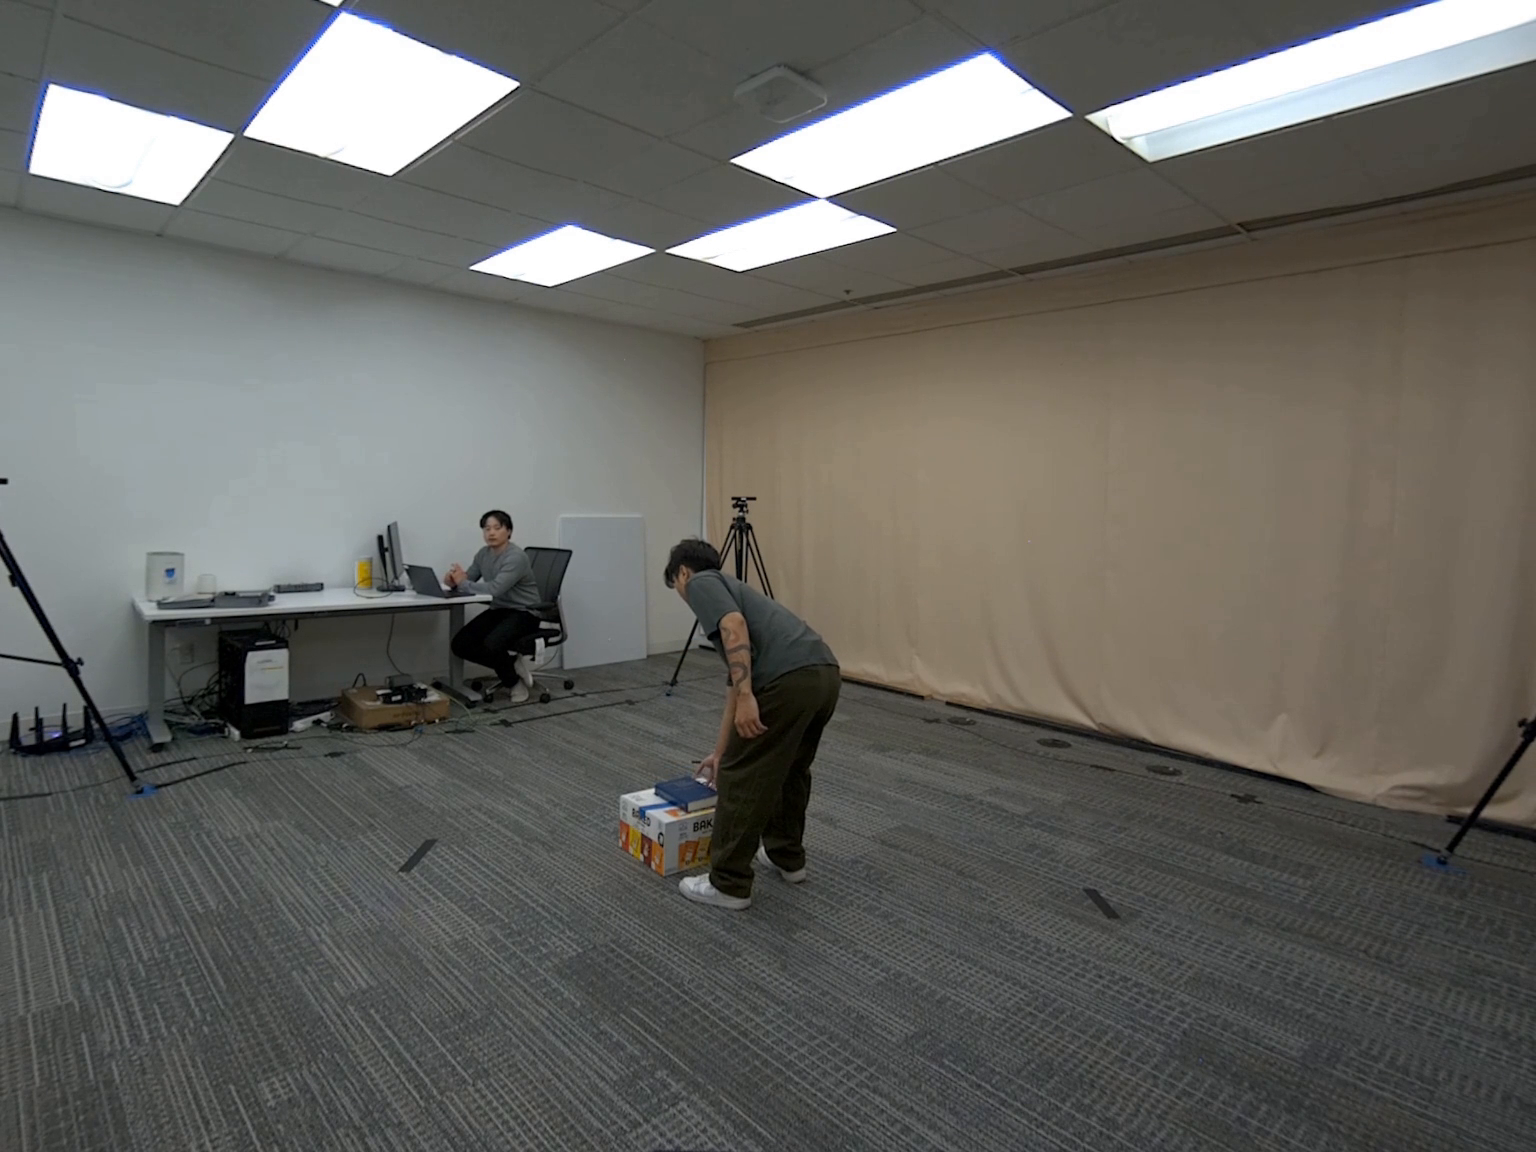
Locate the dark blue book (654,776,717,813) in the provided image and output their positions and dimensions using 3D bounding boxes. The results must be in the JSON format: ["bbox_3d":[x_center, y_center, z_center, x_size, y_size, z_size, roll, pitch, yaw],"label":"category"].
[{"bbox_3d":[-0.326,0.865,3.337,0.160,0.045,0.251,-3,7,-37],"label":"dark blue book"}]
